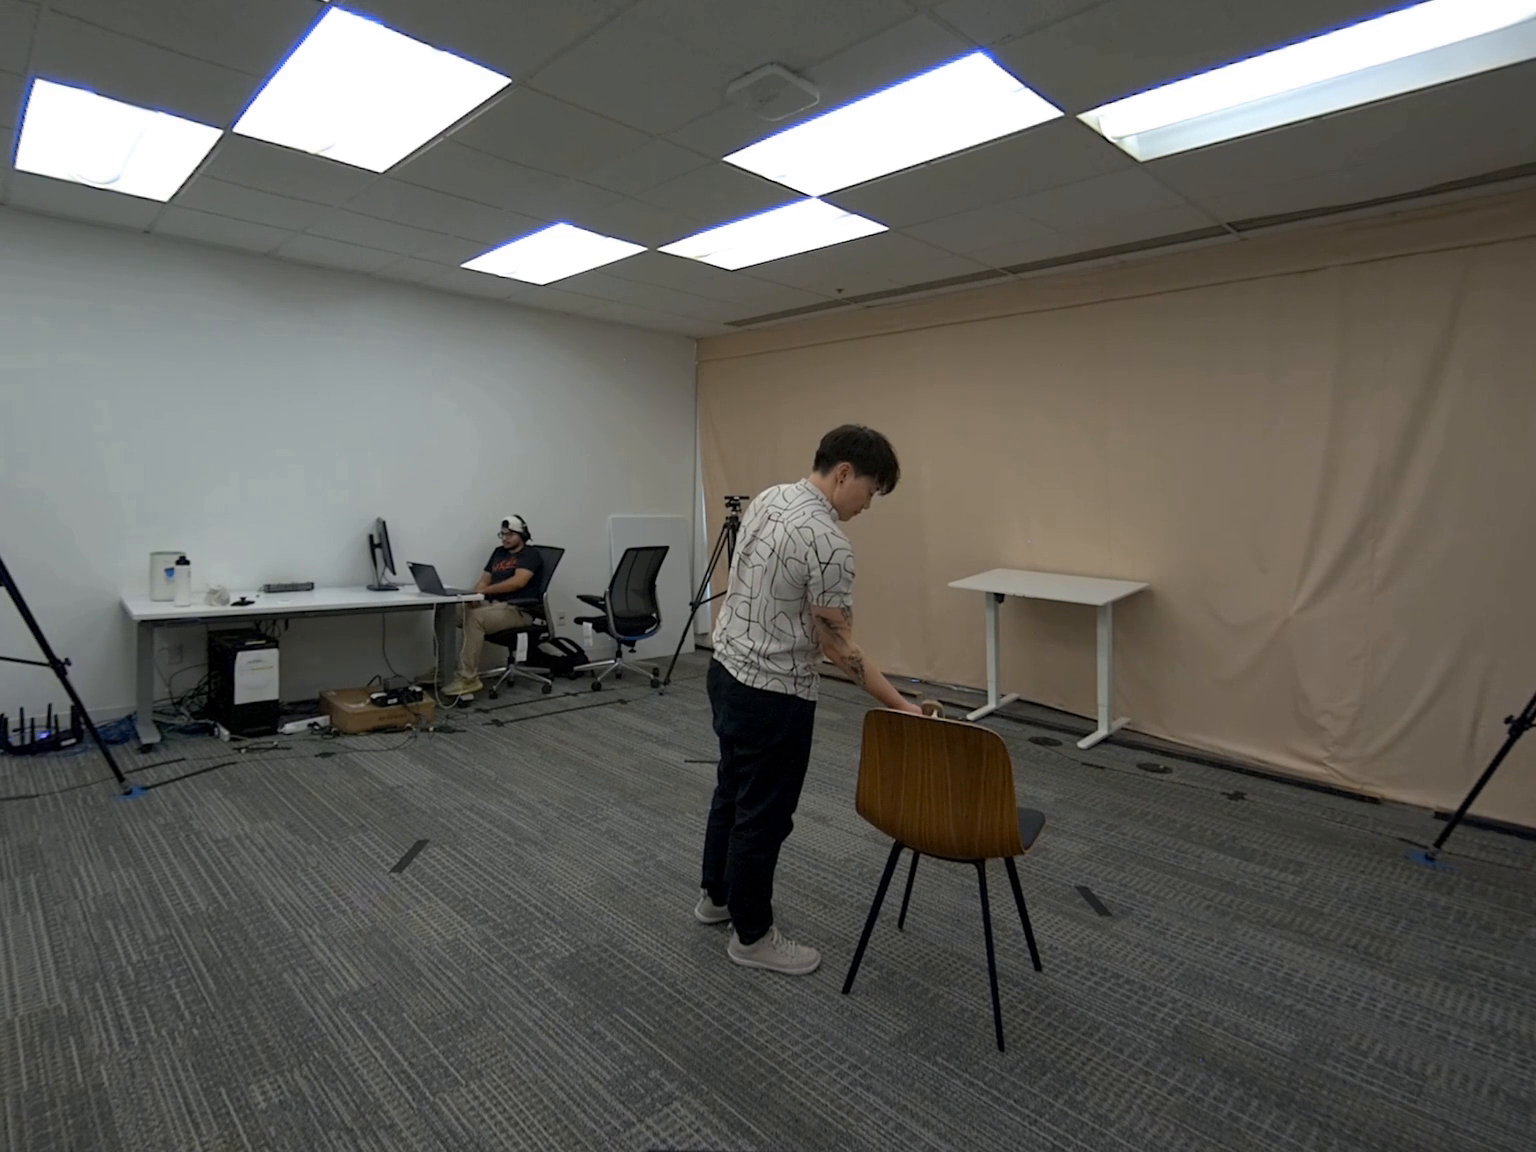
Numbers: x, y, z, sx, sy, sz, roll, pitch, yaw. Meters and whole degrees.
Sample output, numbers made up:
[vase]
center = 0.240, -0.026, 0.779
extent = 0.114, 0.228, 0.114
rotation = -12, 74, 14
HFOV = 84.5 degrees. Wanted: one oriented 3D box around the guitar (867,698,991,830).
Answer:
[guitar]
center = 0.448, 0.518, 2.322
extent = 0.197, 0.483, 0.071
rotation = -2, 43, 32
